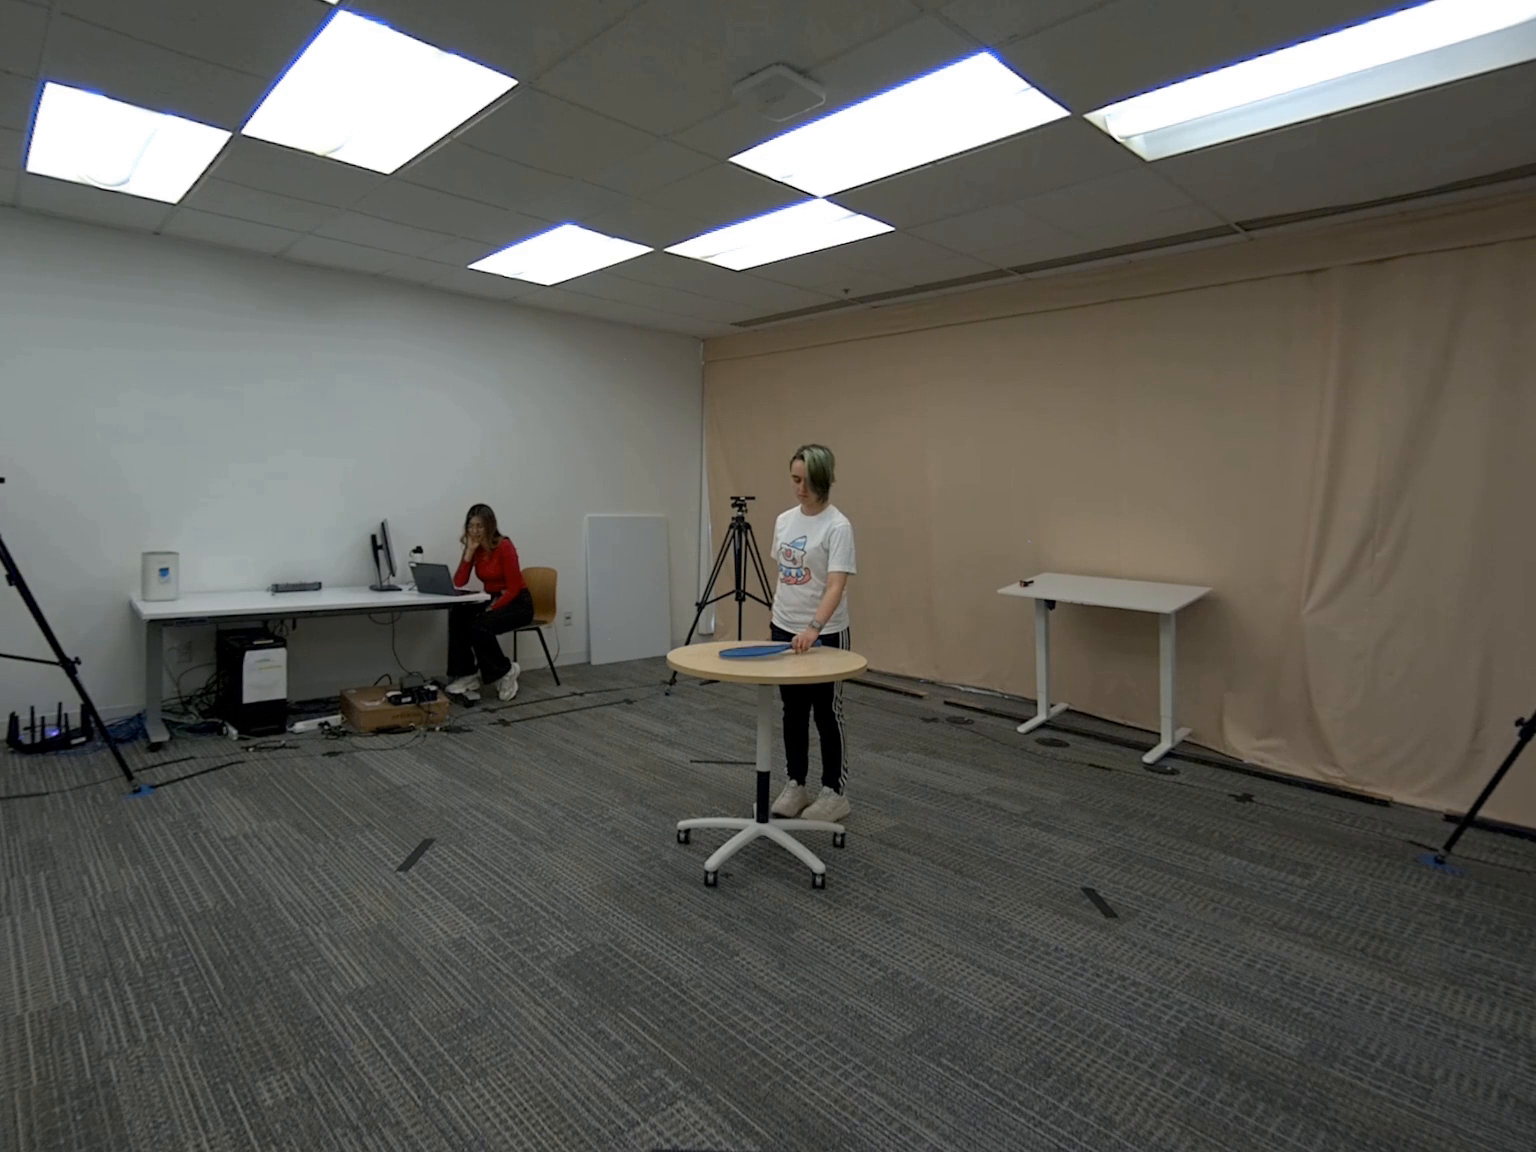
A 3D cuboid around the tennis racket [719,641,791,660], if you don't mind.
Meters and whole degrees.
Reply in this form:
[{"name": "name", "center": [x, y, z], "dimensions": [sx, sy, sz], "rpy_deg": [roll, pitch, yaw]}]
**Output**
[{"name": "tennis racket", "center": [-0.012, 0.283, 3.282], "dimensions": [0.425, 0.031, 0.218], "rpy_deg": [-5, 6, -27]}]
